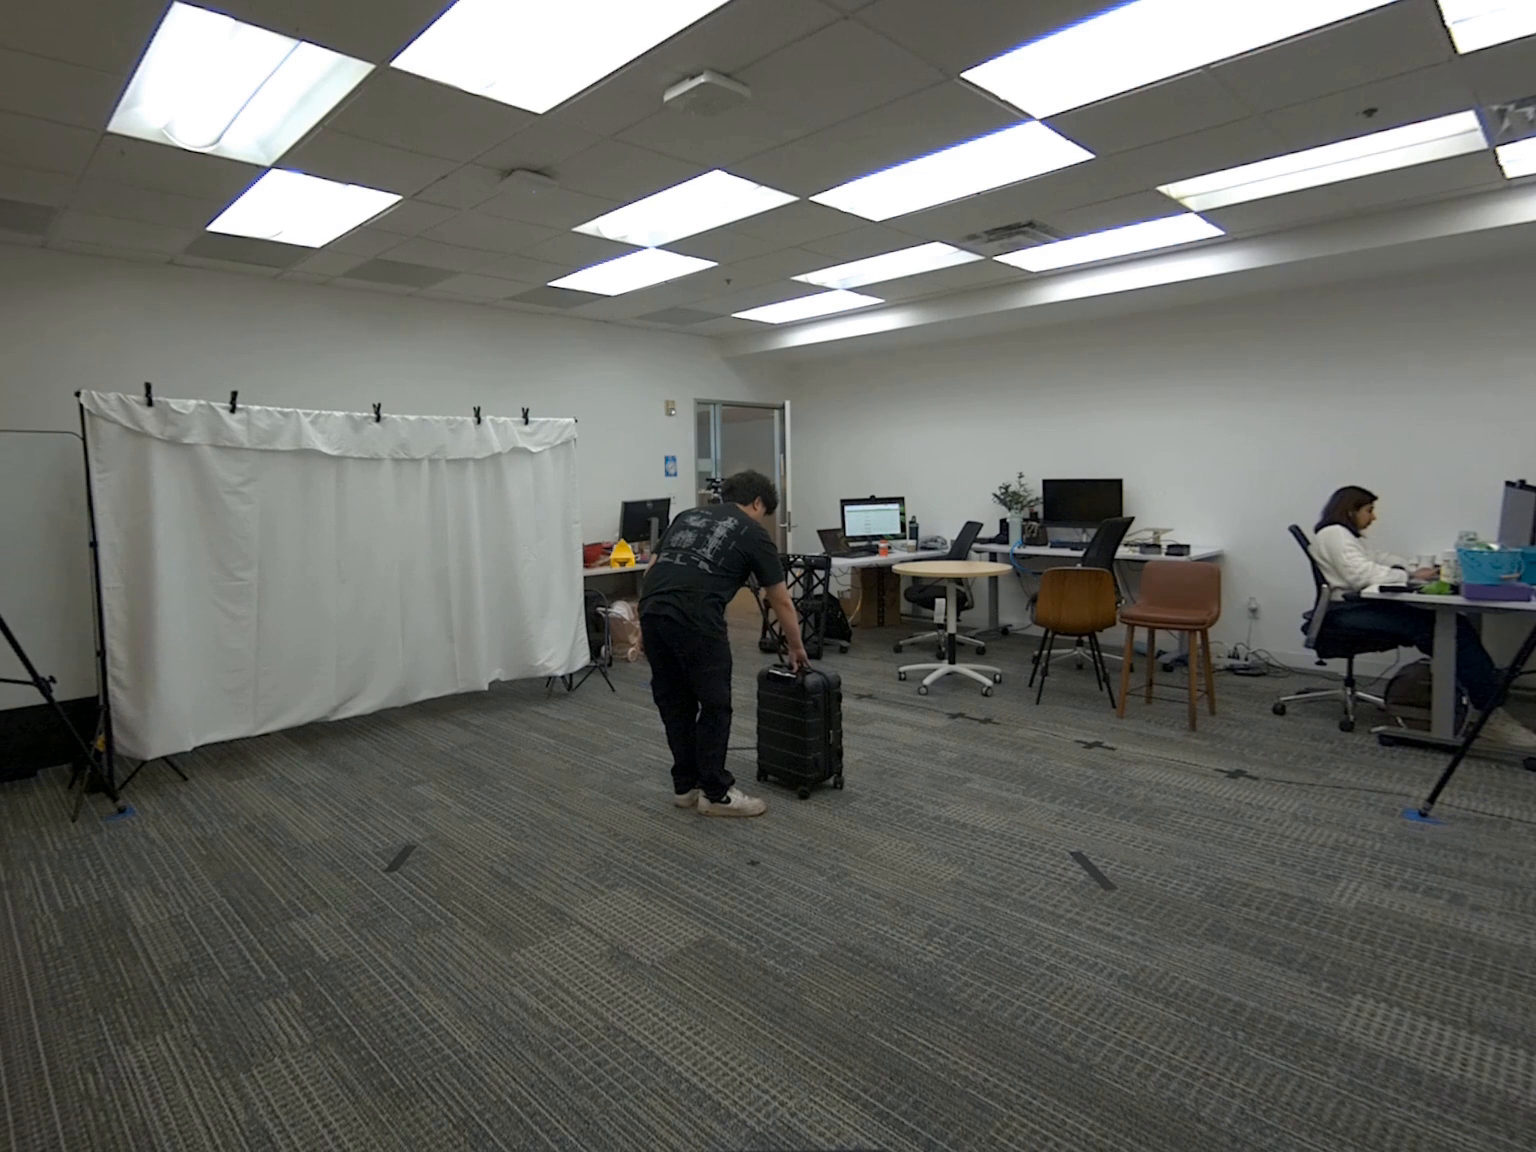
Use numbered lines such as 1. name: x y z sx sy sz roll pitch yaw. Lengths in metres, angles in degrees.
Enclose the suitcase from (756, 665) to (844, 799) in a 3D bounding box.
1. suitcase: 0.143 0.676 3.896 0.241 0.548 0.387 -3 4 -43
